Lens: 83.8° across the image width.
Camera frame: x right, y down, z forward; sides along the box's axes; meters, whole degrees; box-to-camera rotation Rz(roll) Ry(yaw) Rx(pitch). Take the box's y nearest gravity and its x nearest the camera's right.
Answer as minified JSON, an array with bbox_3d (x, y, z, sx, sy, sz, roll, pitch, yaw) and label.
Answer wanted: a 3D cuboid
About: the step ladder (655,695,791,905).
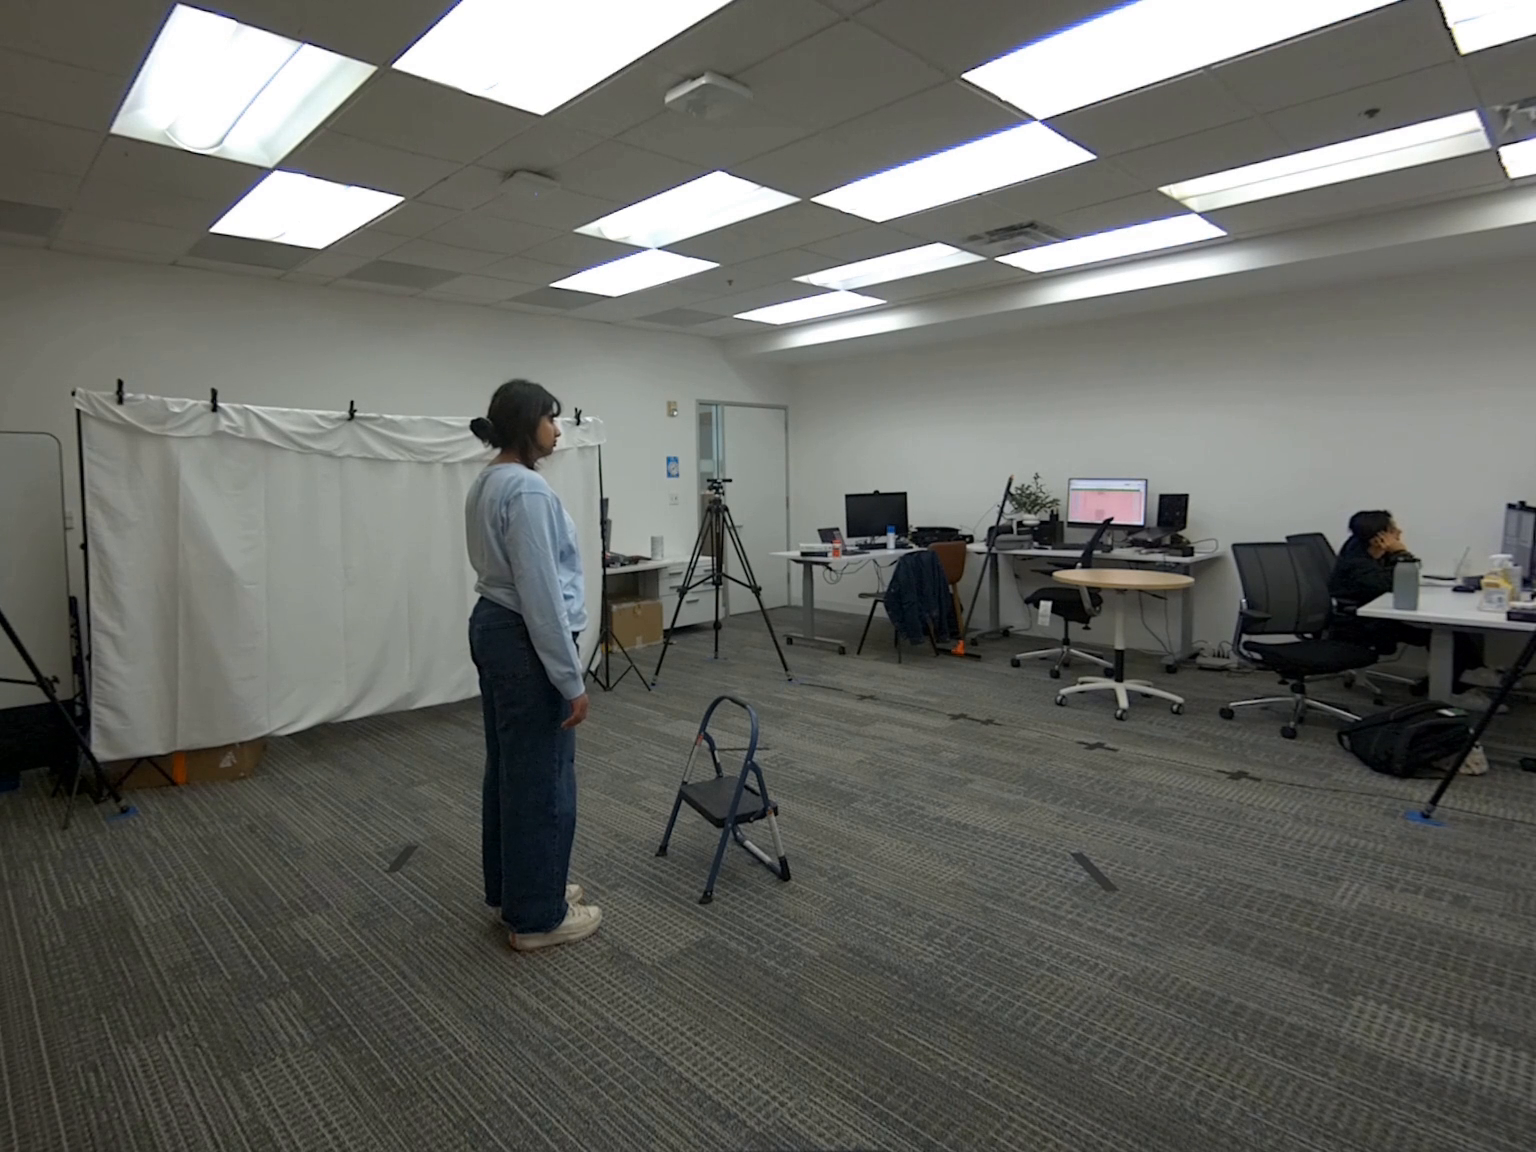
[{"bbox_3d":[-0.169,0.746,3.057,0.341,0.603,0.442,-3,6,-28],"label":"step ladder"}]
